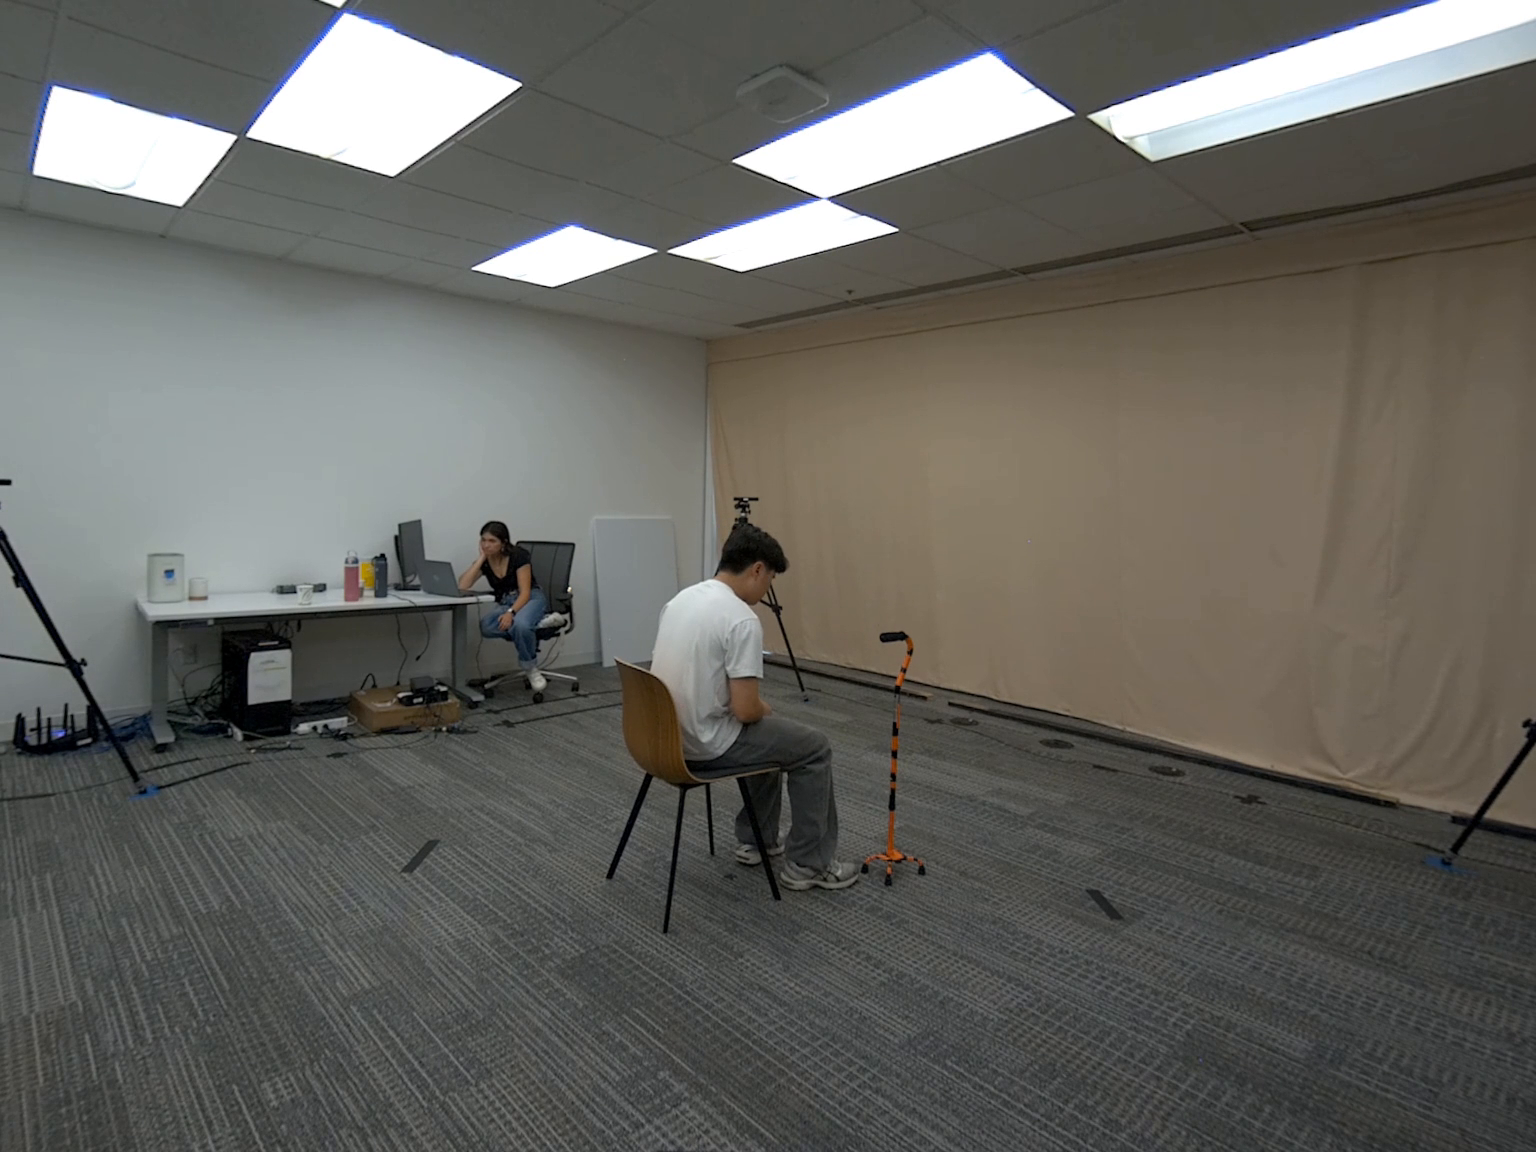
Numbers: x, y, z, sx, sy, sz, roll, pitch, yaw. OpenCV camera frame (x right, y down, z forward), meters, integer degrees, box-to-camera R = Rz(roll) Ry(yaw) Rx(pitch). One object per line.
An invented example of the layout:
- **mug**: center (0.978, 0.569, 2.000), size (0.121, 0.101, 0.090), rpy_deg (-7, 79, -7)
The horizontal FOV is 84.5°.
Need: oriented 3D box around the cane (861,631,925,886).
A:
- **cane**: center (0.482, 0.666, 3.136), size (0.202, 0.906, 0.155), rpy_deg (0, 3, -37)
